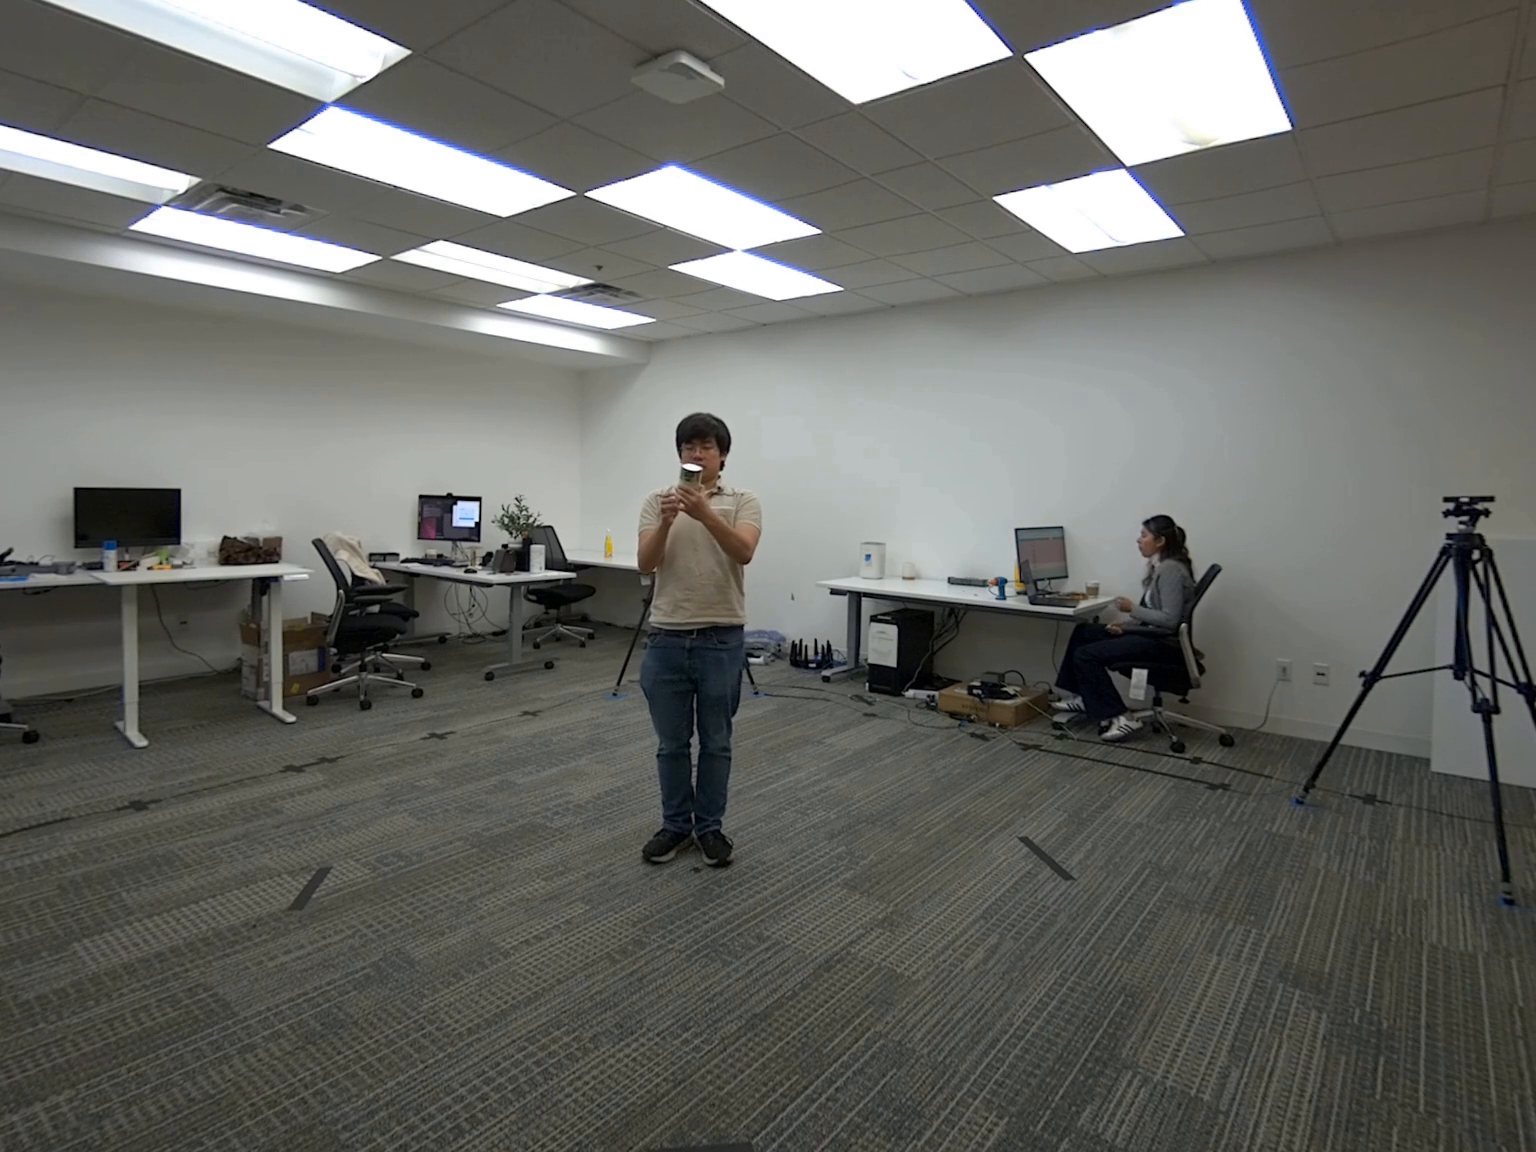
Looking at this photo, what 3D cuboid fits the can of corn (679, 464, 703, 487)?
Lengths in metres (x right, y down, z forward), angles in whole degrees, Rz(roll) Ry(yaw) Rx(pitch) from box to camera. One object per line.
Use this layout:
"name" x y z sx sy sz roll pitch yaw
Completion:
"can of corn" -0.279 -0.330 2.916 0.074 0.109 0.076 7 22 -5
